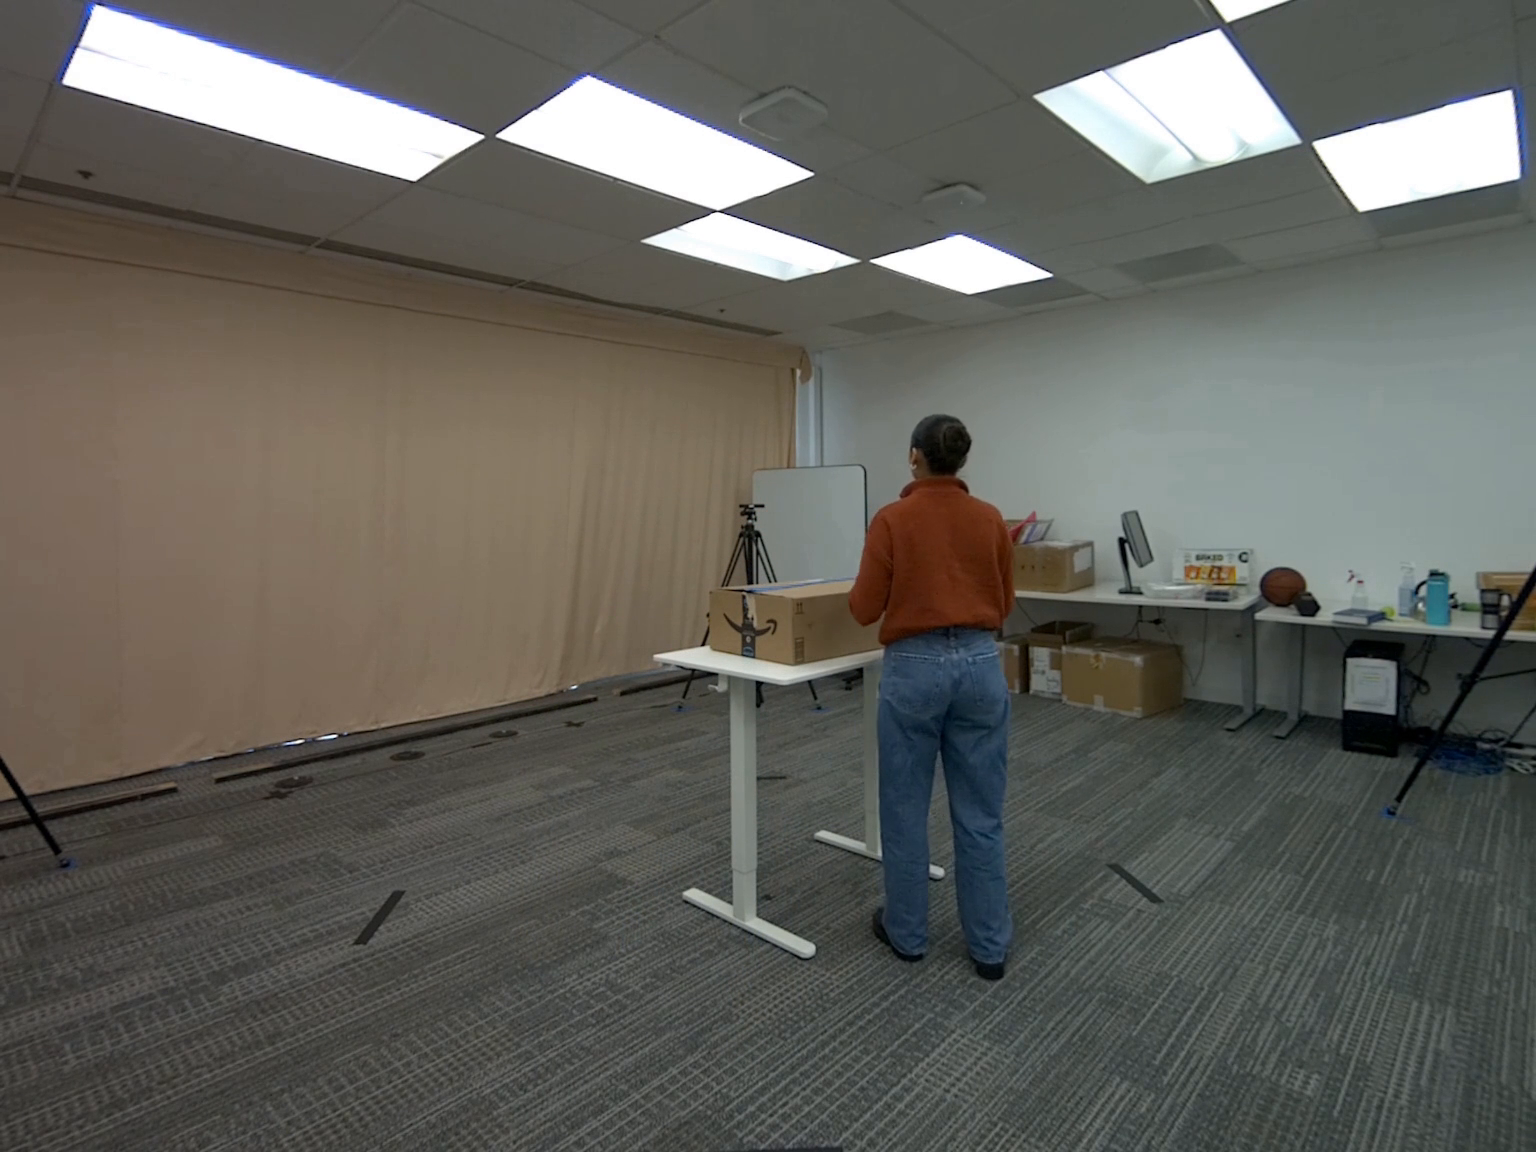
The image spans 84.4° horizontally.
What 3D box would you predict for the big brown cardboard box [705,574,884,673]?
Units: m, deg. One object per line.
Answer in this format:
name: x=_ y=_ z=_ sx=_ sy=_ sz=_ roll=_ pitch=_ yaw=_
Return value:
big brown cardboard box: x=0.141 y=0.146 z=2.985 sx=0.571 sy=0.232 sz=0.431 roll=-6 pitch=7 yaw=-41
